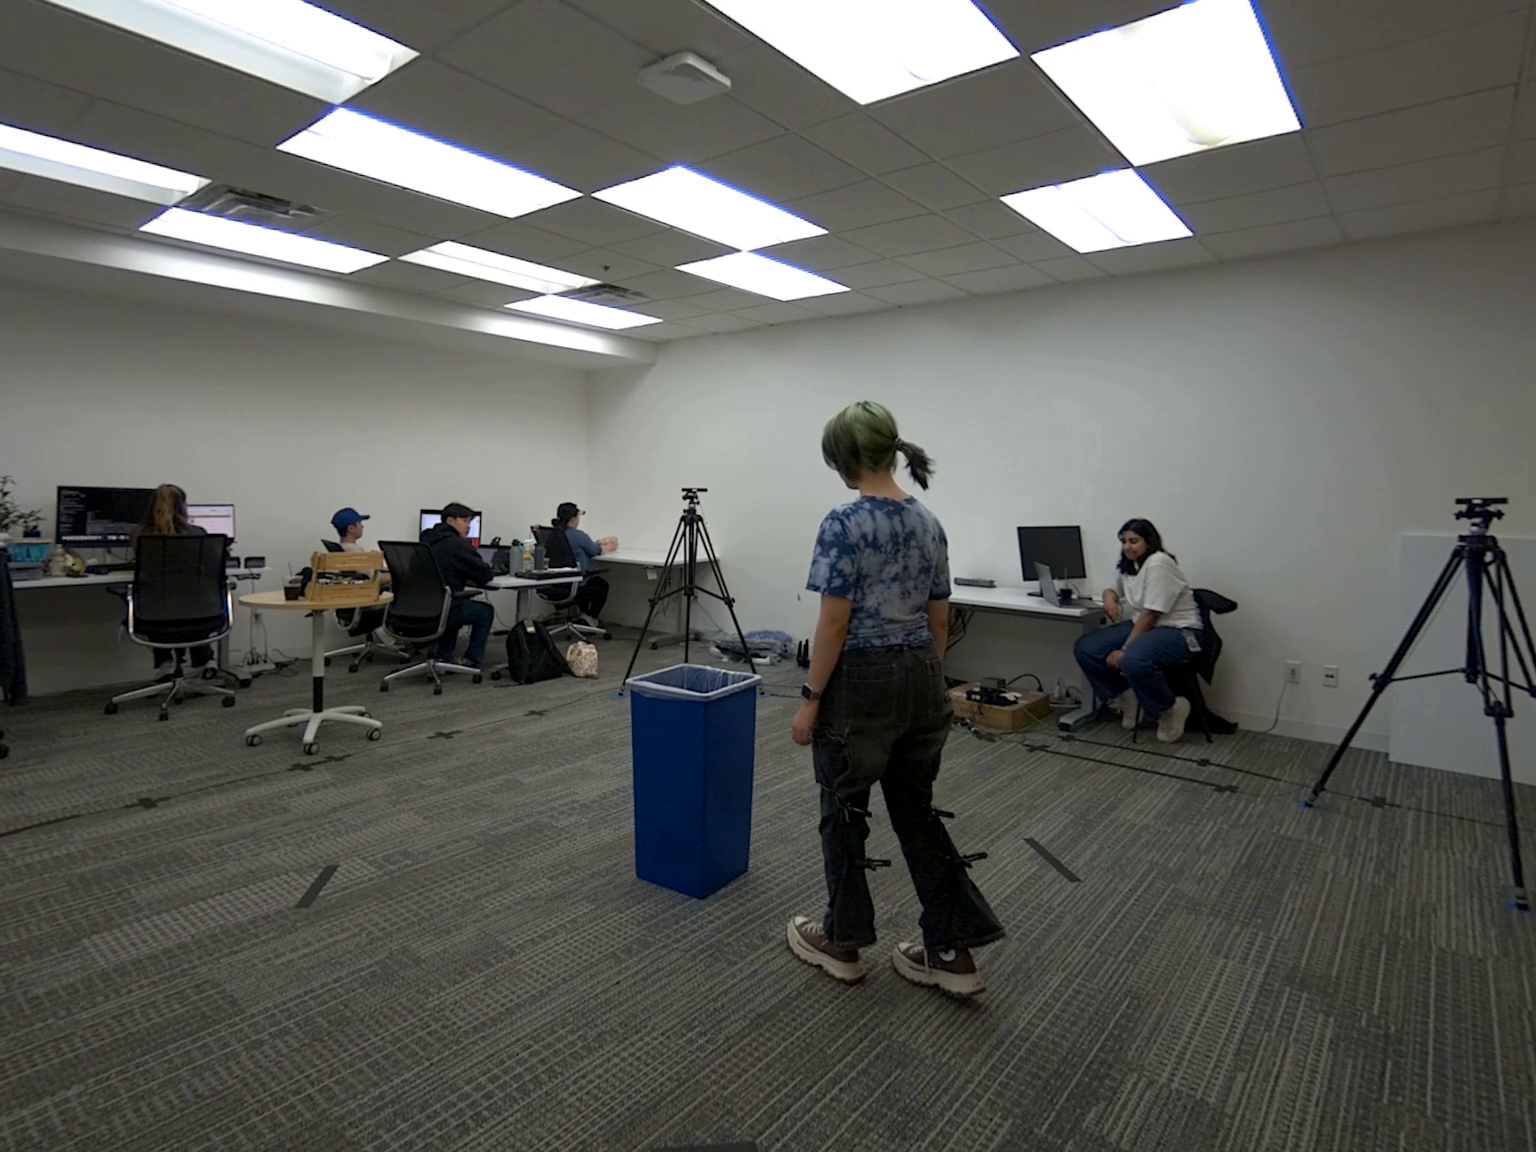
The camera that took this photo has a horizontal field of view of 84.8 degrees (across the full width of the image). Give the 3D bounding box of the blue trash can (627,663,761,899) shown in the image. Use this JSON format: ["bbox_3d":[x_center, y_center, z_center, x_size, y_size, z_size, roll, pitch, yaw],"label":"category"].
[{"bbox_3d":[-0.277,0.715,3.052,0.390,0.712,0.363,2,3,33],"label":"blue trash can"}]
